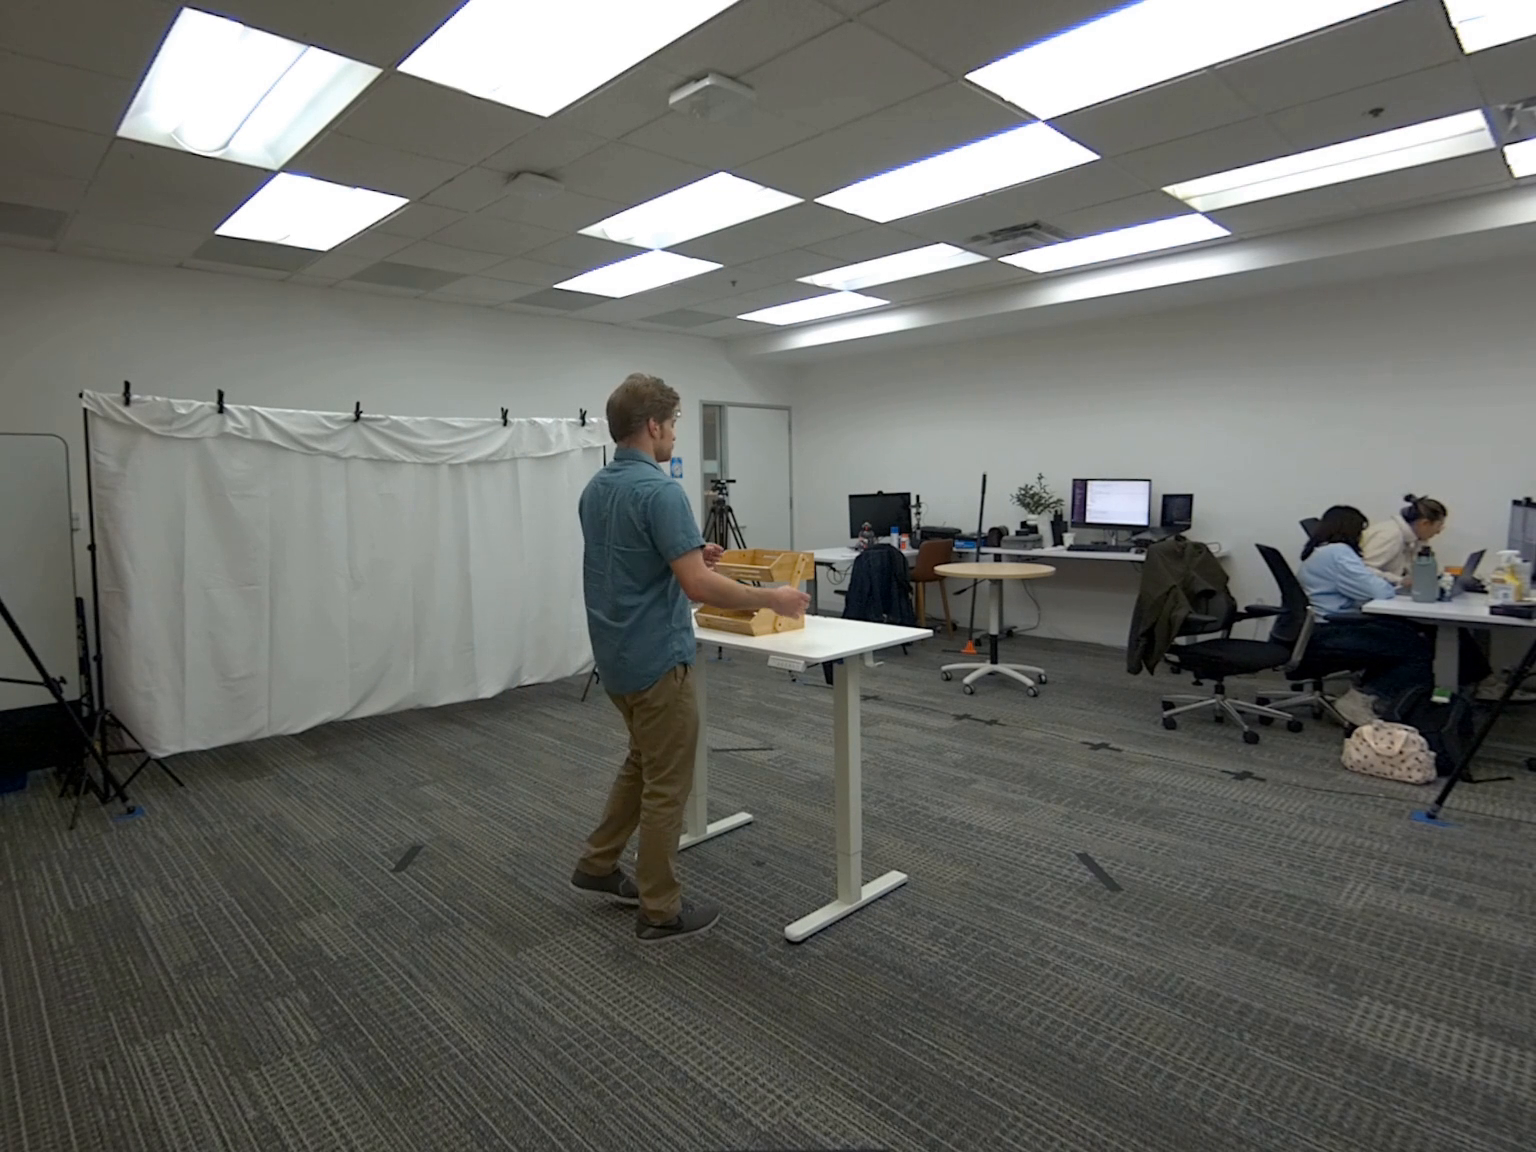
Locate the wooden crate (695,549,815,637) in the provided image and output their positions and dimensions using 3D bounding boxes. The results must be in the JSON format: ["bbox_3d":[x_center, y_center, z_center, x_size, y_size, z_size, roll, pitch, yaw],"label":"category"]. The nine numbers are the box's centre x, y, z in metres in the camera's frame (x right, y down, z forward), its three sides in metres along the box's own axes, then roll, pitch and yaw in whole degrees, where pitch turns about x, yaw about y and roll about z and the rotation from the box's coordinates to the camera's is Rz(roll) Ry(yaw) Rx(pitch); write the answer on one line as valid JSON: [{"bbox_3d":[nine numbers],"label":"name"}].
[{"bbox_3d":[-0.049,0.045,2.983,0.294,0.272,0.334,-4,6,-42],"label":"wooden crate"}]
